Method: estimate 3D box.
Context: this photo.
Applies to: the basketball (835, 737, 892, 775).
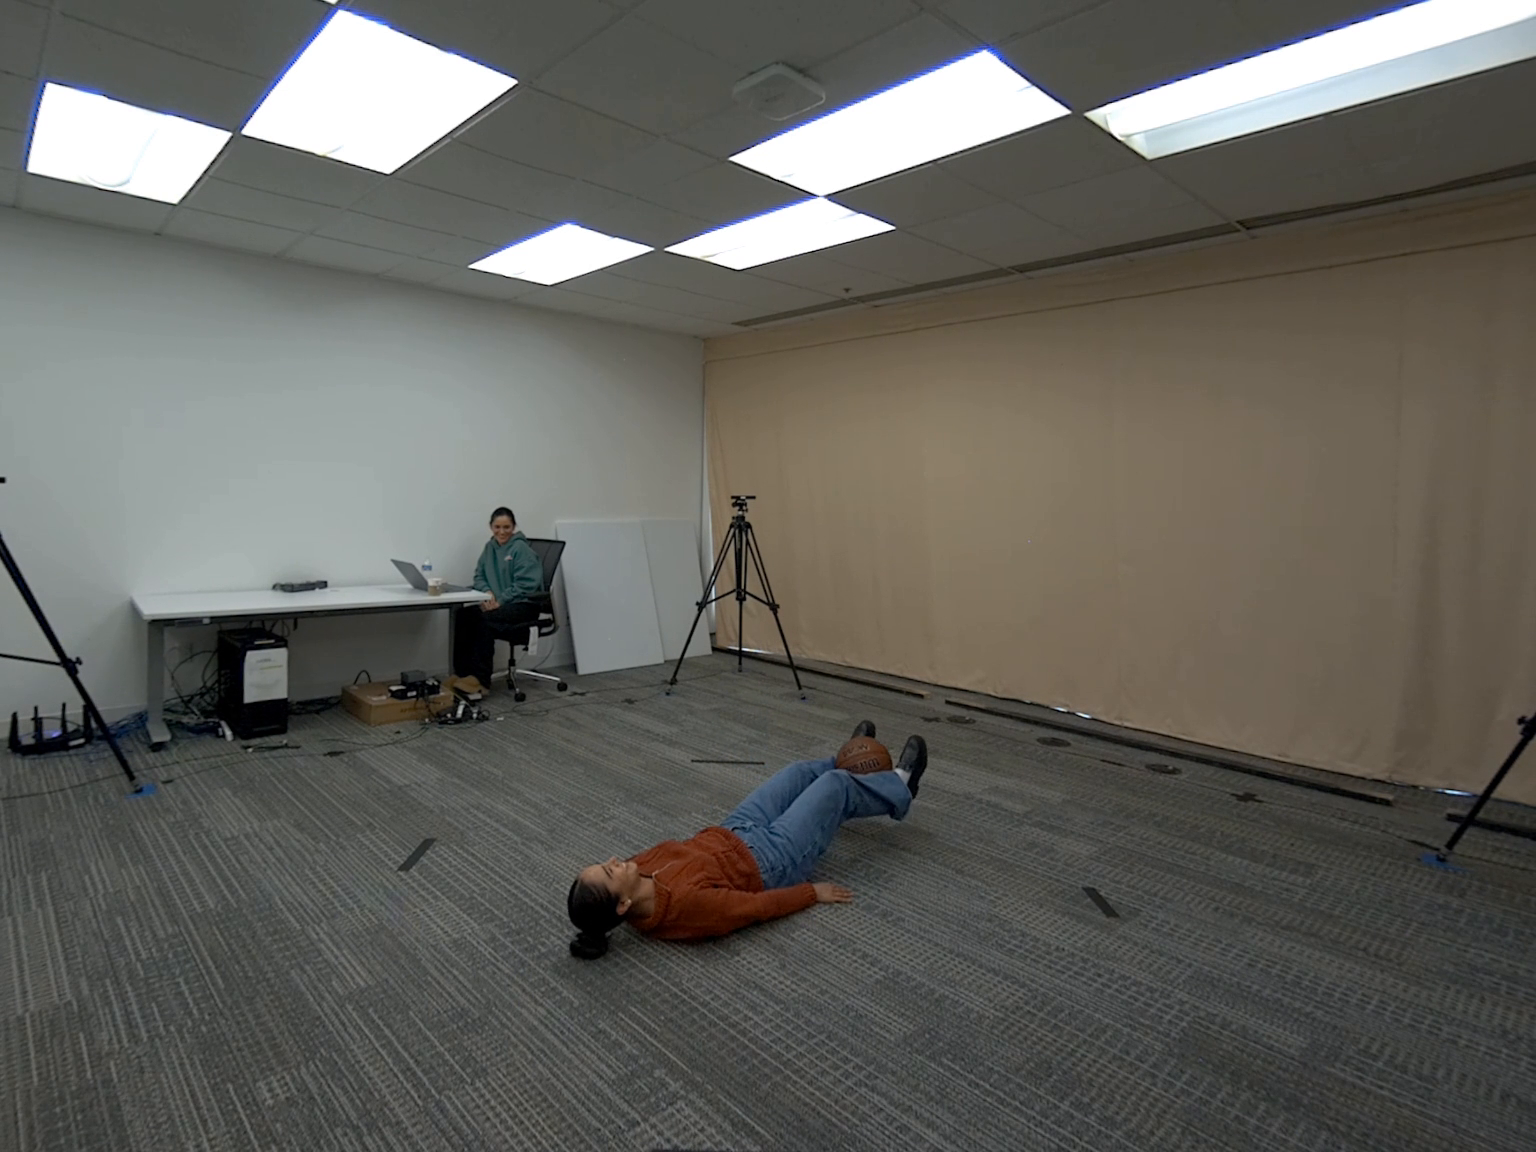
[{"bbox_3d":[0.397,0.793,3.509,0.236,0.235,0.237,1,4,-1],"label":"basketball"}]
